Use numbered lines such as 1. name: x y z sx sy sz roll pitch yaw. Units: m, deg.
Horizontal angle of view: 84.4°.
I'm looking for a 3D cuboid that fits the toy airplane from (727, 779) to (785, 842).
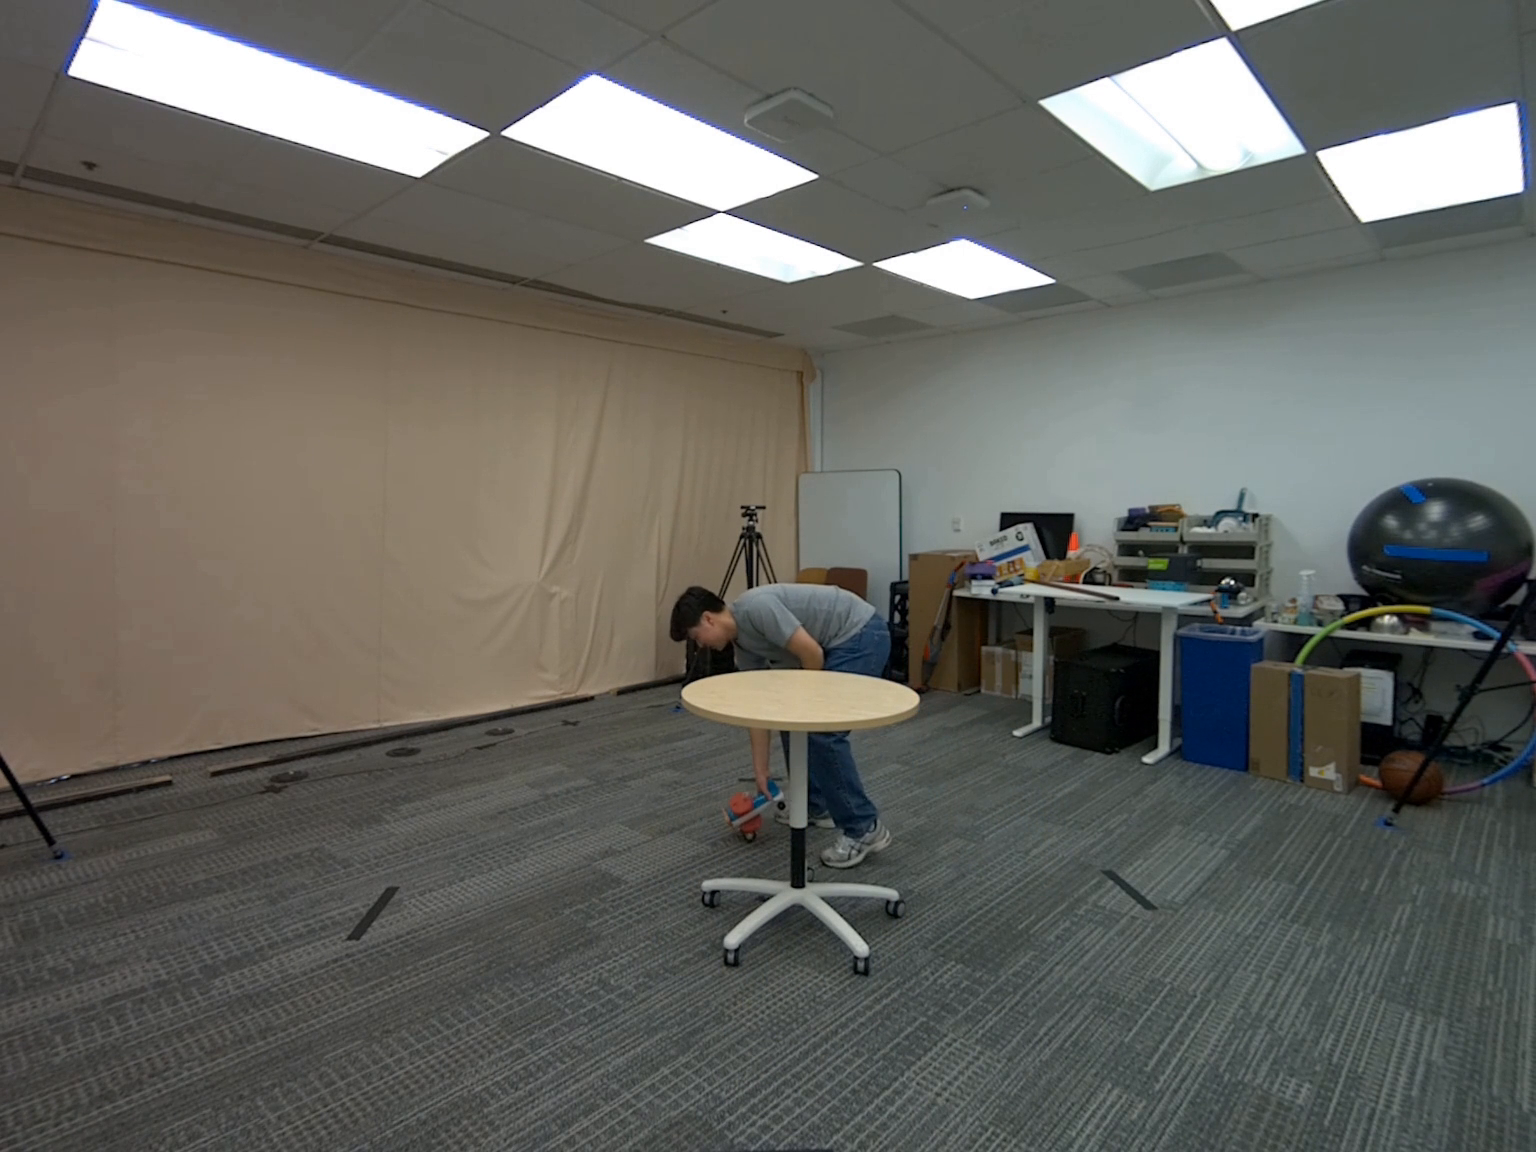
1. toy airplane: -0.051 0.978 3.544 0.257 0.155 0.255 -45 8 -35
